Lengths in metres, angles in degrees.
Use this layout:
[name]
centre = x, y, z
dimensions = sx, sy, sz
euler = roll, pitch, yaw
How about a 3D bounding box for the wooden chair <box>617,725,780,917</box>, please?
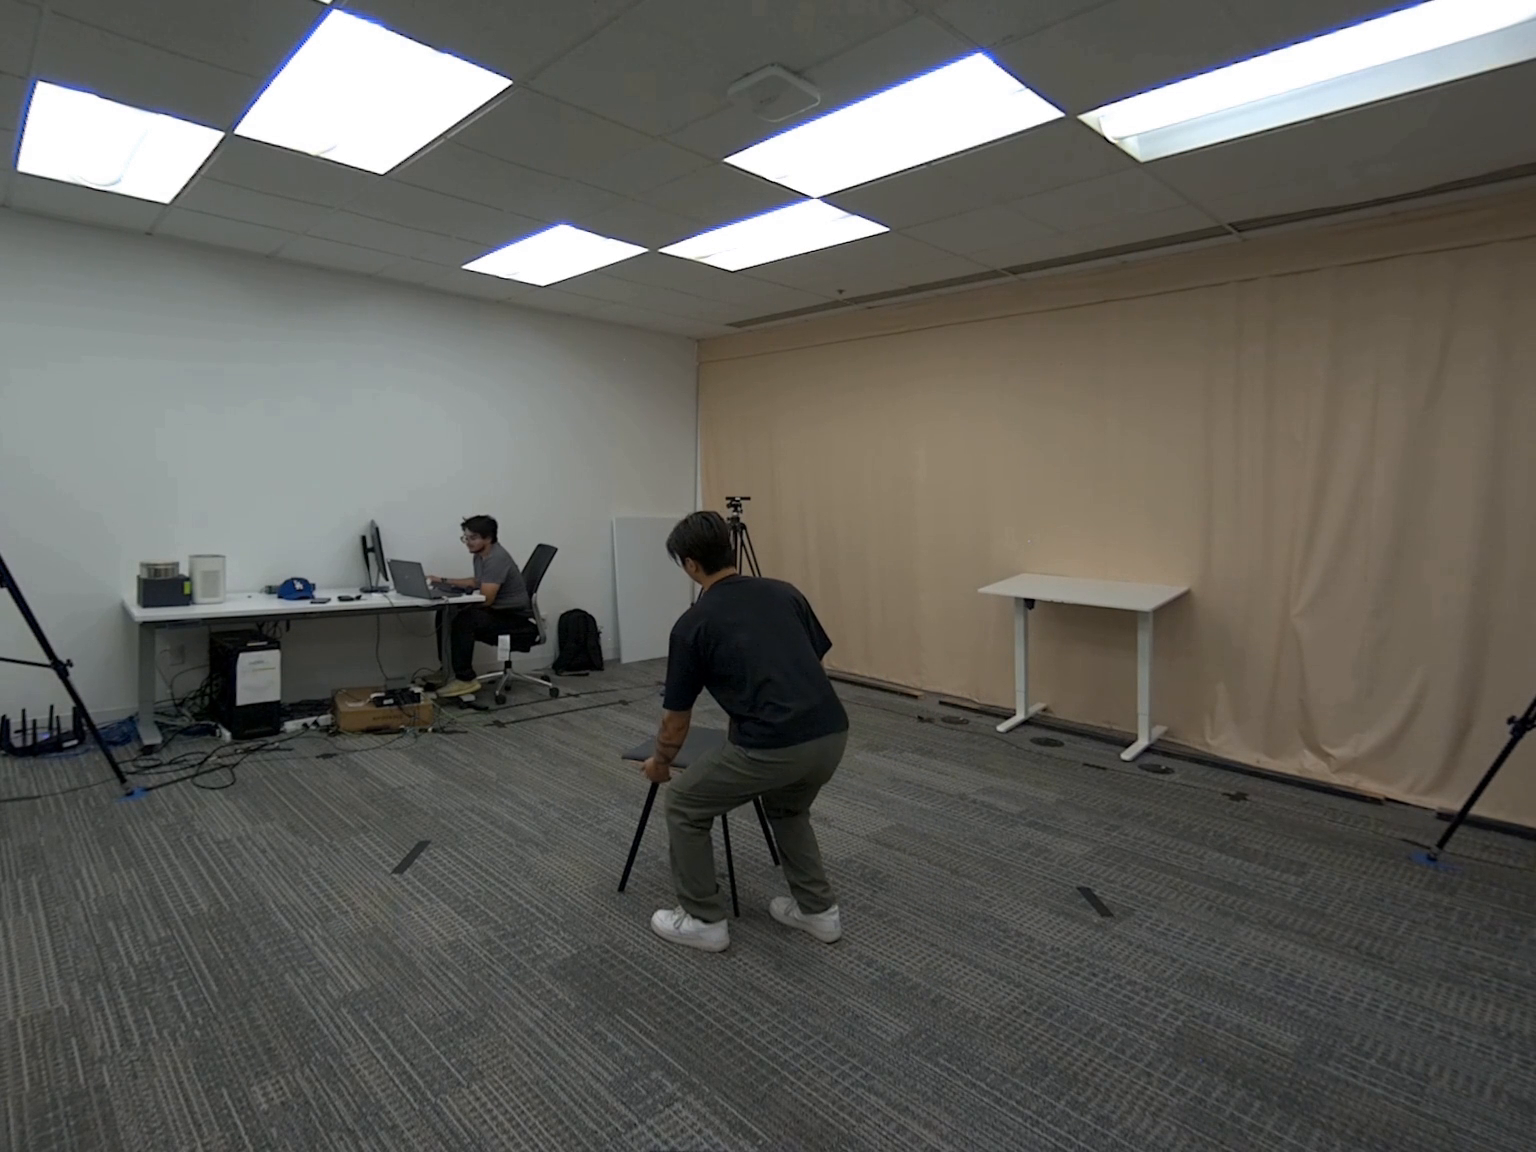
[wooden chair]
centre = -0.240, 0.684, 3.055
dimensions = 0.532, 0.874, 0.471
euler = 7, 5, 20
